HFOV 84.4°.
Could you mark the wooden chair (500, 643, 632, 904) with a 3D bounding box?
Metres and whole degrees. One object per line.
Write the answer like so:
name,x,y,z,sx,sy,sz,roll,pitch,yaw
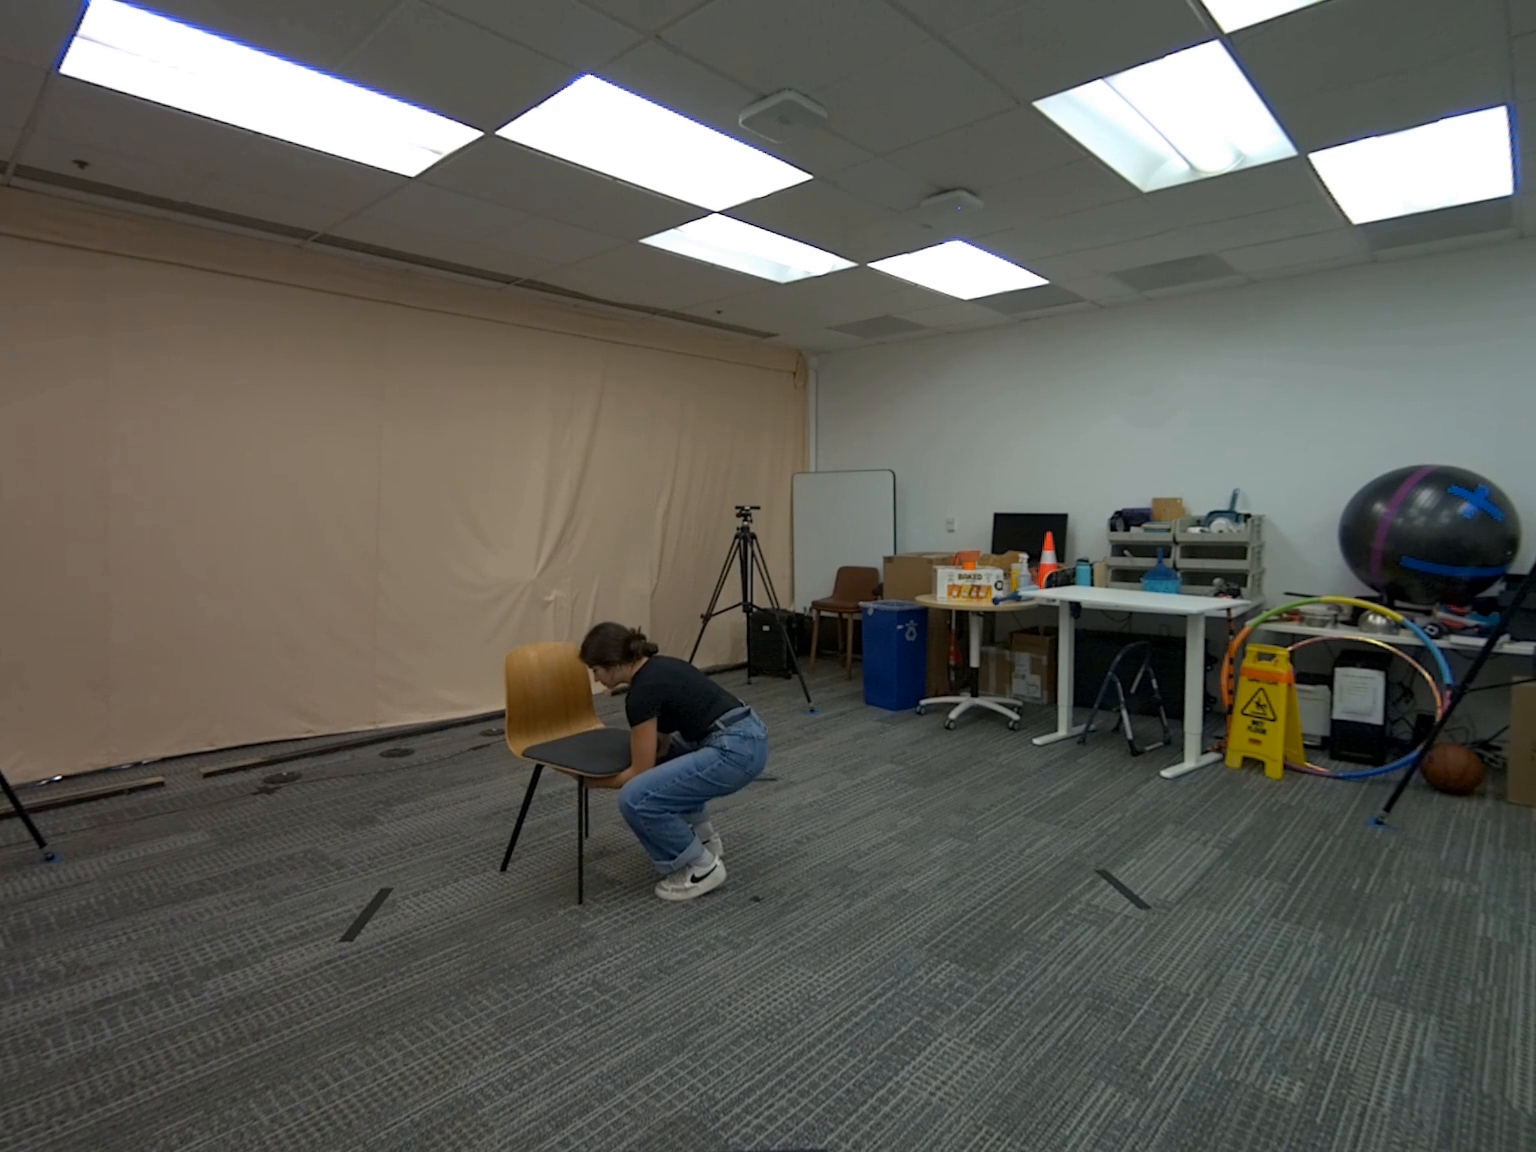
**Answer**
wooden chair,-0.708,0.705,3.230,0.539,0.877,0.464,-3,1,37
